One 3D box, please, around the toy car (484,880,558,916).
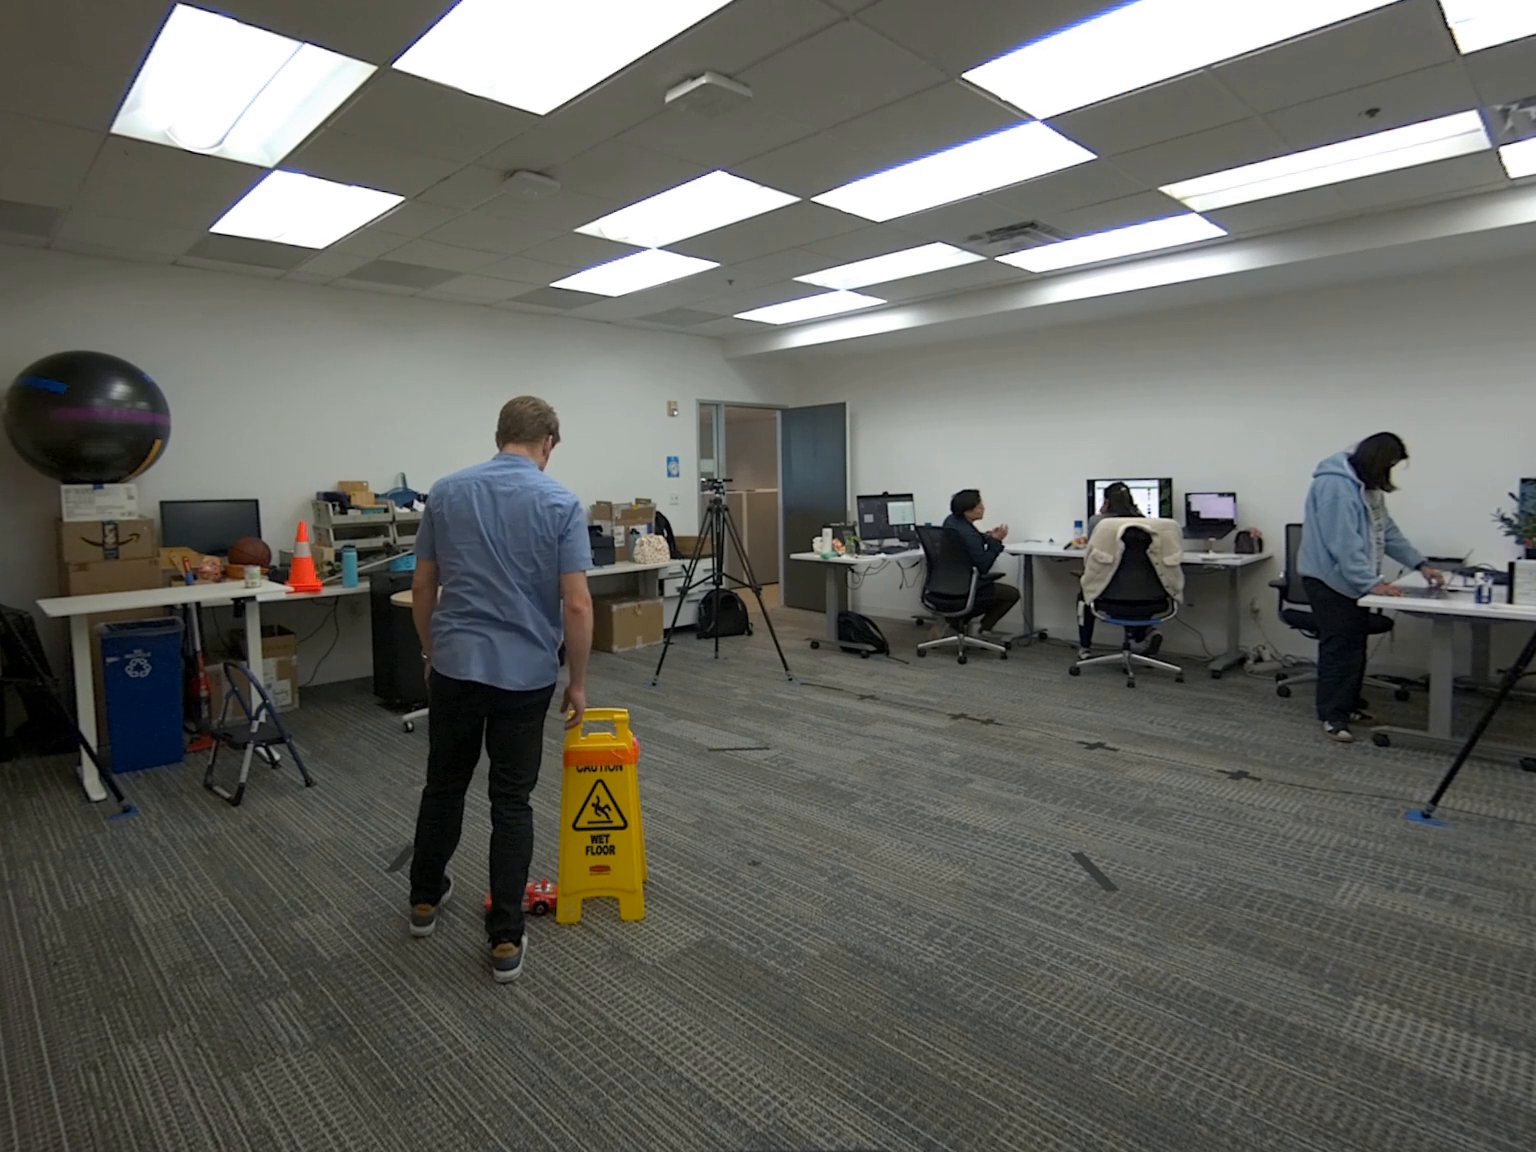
[{"bbox_3d":[-0.791,1.065,2.809,0.254,0.083,0.131,-13,6,-5],"label":"toy car"}]
